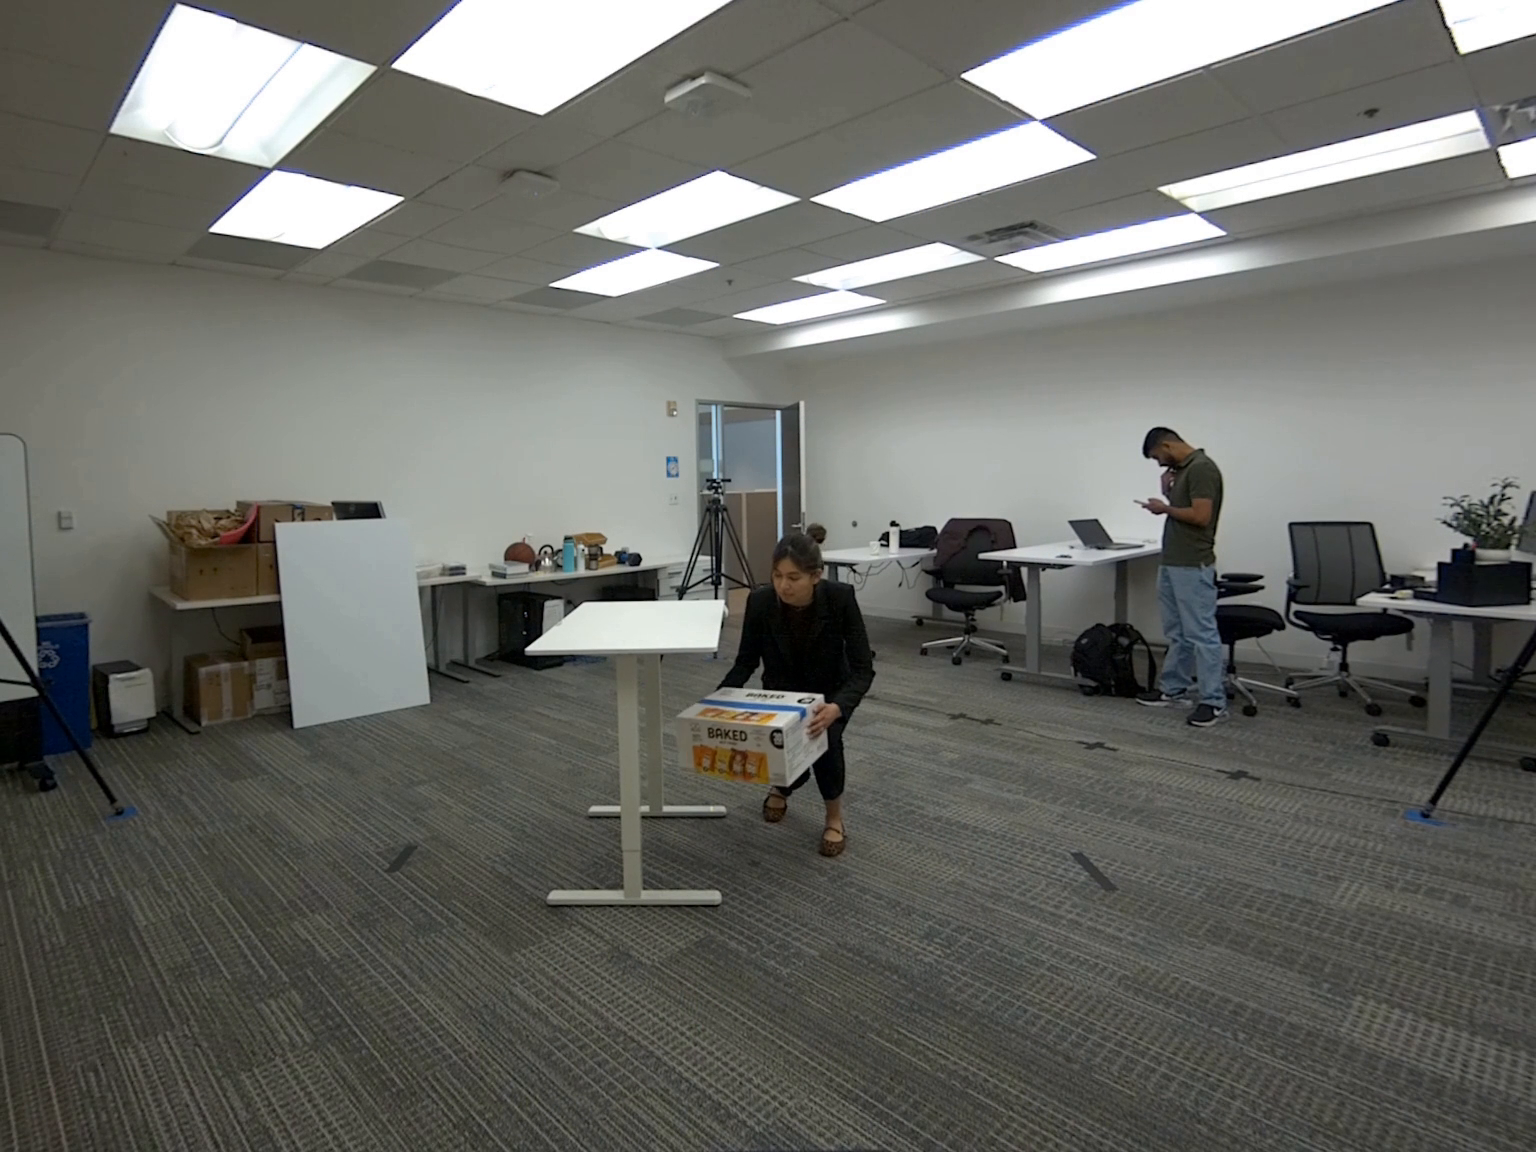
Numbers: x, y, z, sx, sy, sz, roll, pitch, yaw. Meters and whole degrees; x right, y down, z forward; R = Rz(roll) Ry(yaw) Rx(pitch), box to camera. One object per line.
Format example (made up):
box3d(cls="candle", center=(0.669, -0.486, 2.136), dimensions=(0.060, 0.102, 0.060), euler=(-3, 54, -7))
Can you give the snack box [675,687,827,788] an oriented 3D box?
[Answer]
box3d(cls="snack box", center=(-0.048, 0.539, 2.932), dimensions=(0.415, 0.204, 0.335), euler=(-1, 10, 28))
